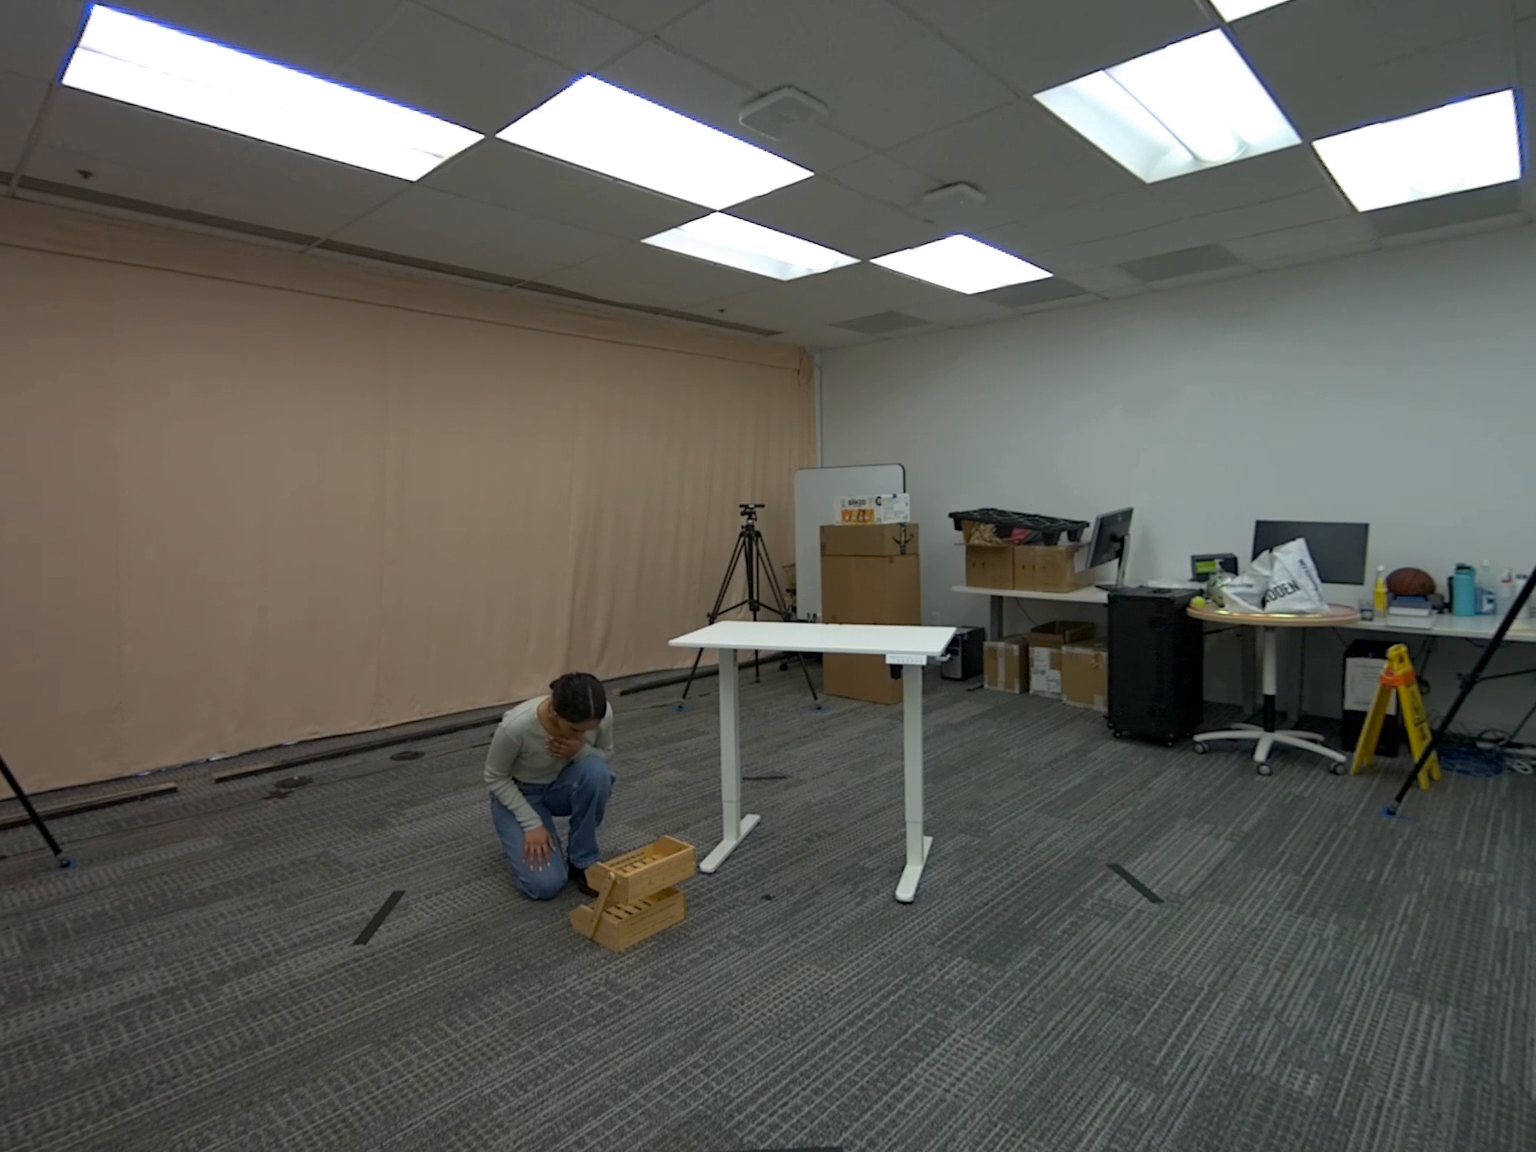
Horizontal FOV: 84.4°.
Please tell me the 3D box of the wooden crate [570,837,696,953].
[{"bbox_3d":[-0.449,1.031,2.795,0.312,0.272,0.314,4,6,43],"label":"wooden crate"}]
